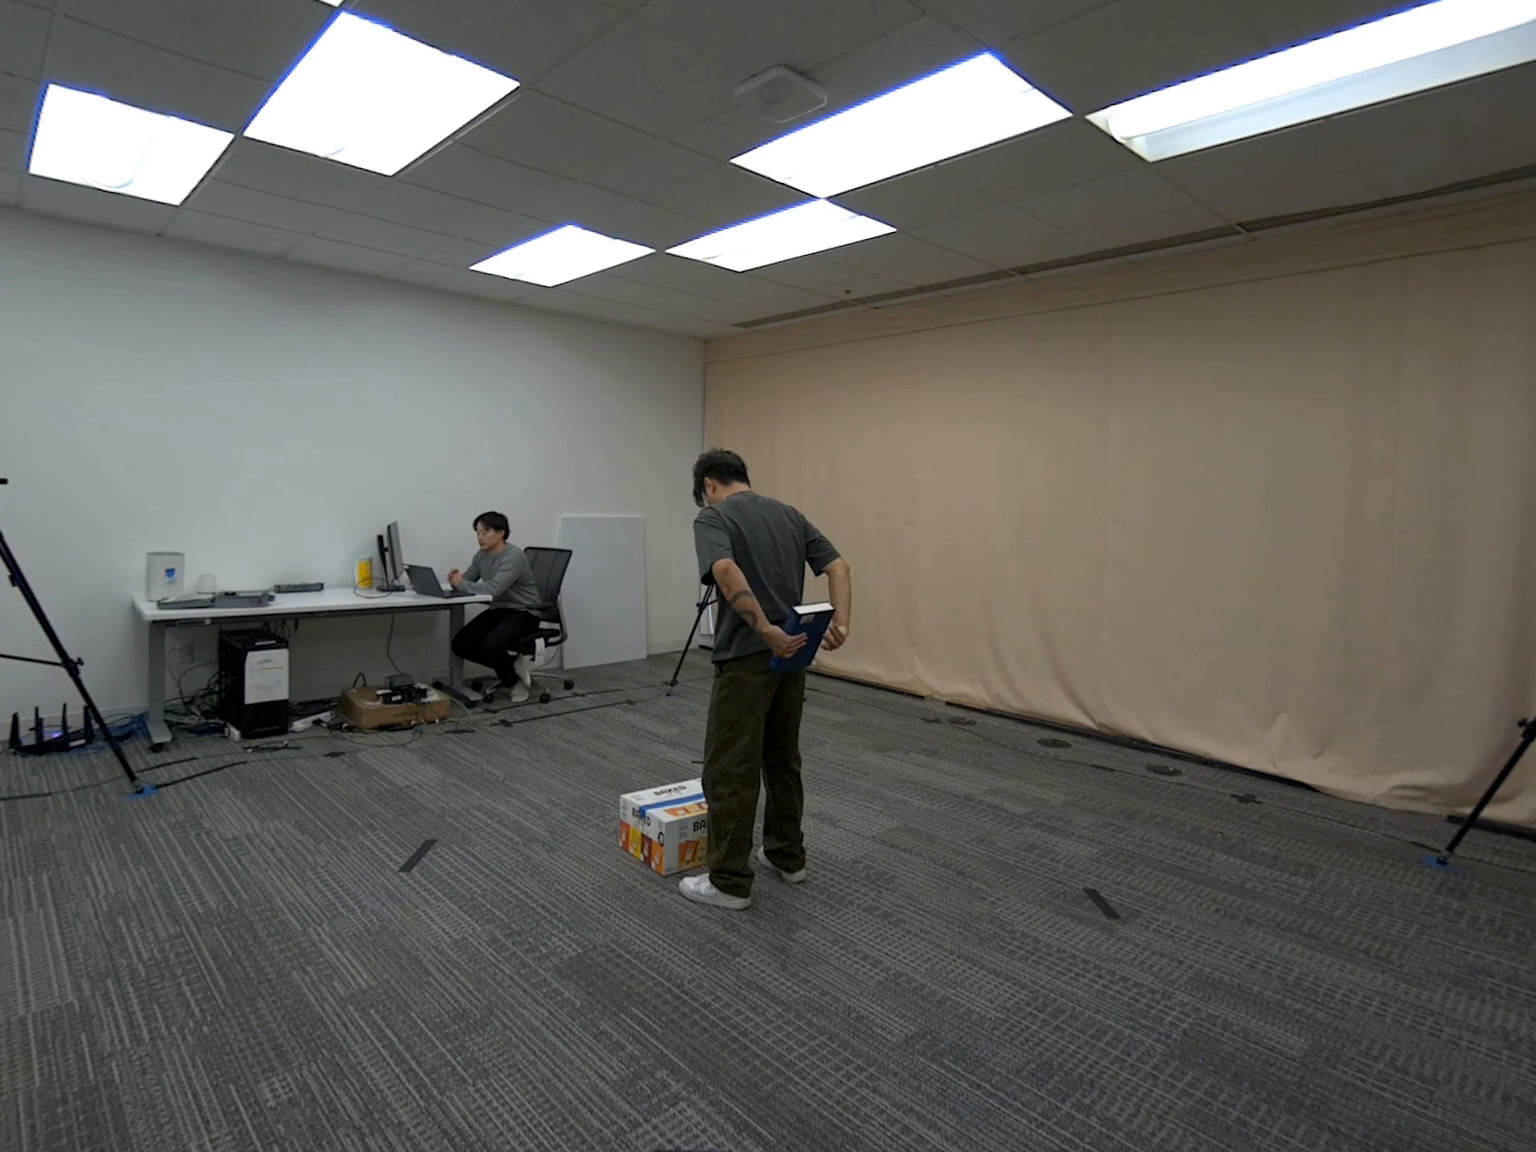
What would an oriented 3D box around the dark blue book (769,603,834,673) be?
[{"bbox_3d":[0.098,0.199,2.758,0.160,0.242,0.046,-5,38,-38],"label":"dark blue book"}]
